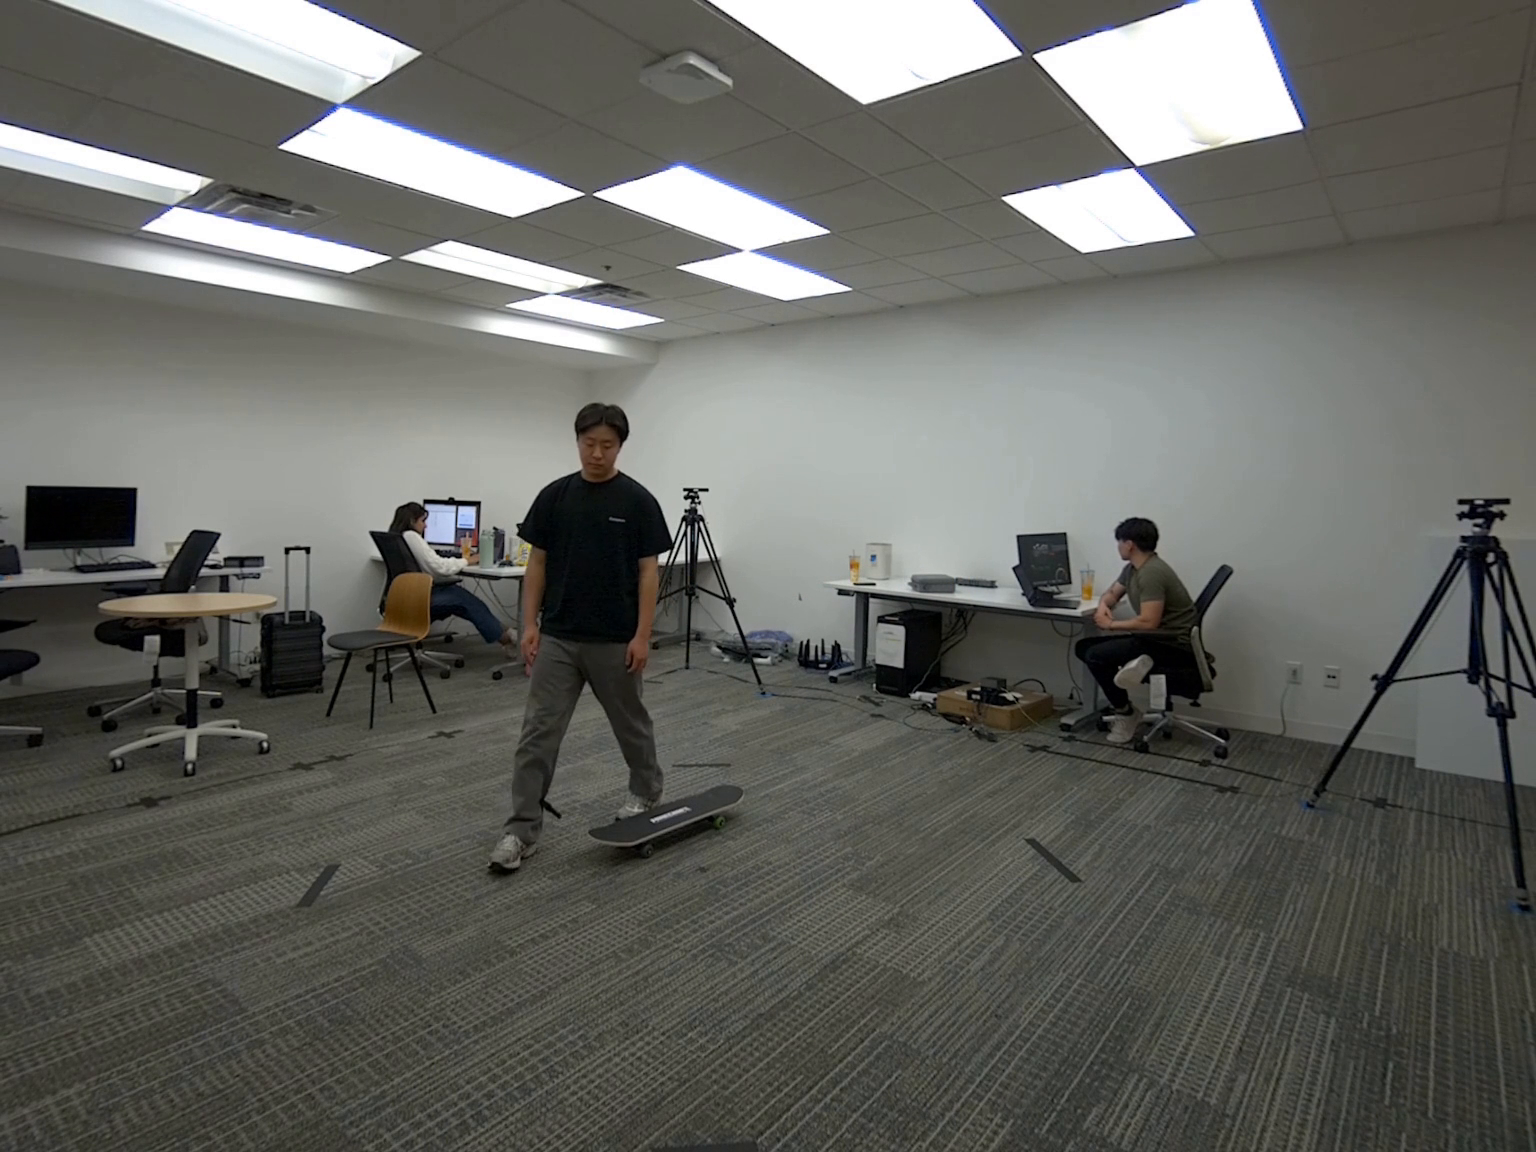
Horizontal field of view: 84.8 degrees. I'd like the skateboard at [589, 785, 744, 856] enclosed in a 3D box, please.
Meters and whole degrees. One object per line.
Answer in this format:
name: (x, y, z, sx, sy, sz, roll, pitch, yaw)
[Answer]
skateboard: (-0.399, 0.984, 3.397, 0.200, 0.110, 0.762, 7, 8, 42)
